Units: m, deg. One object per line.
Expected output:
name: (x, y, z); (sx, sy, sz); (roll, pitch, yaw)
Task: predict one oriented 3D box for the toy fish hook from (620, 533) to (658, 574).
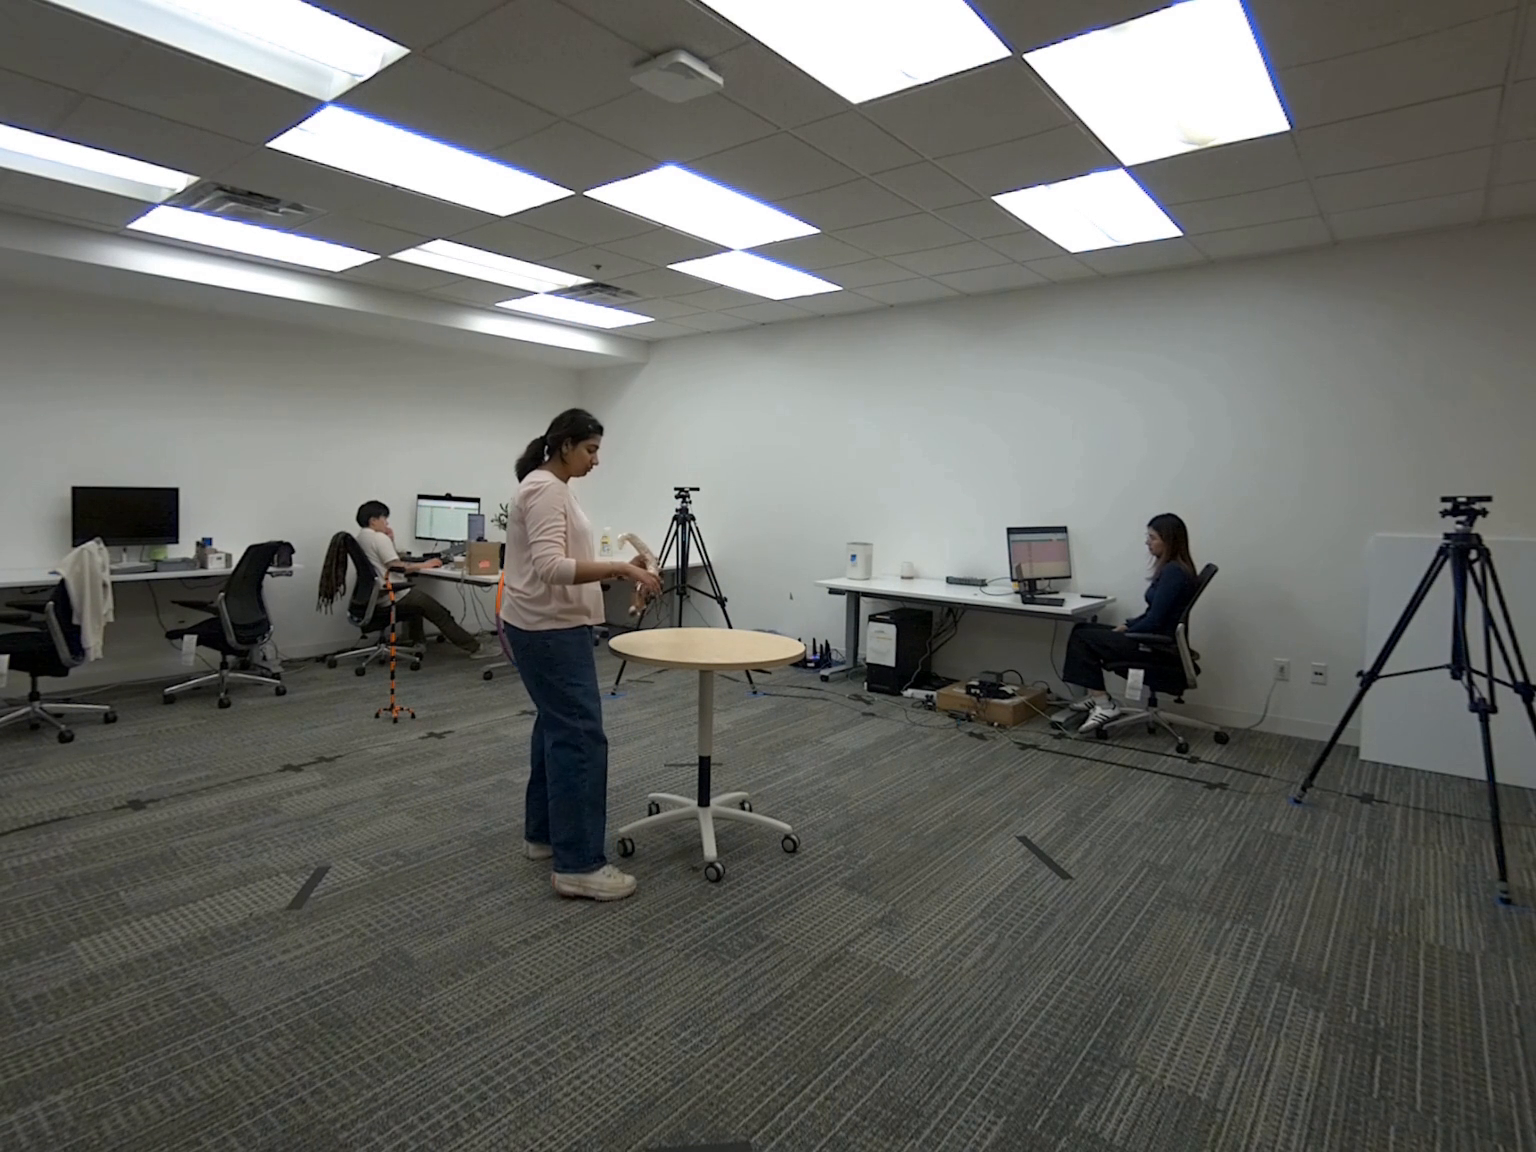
toy fish hook: (-0.508, -0.022, 3.128); (0.048, 0.219, 0.517); (-39, 19, 16)
